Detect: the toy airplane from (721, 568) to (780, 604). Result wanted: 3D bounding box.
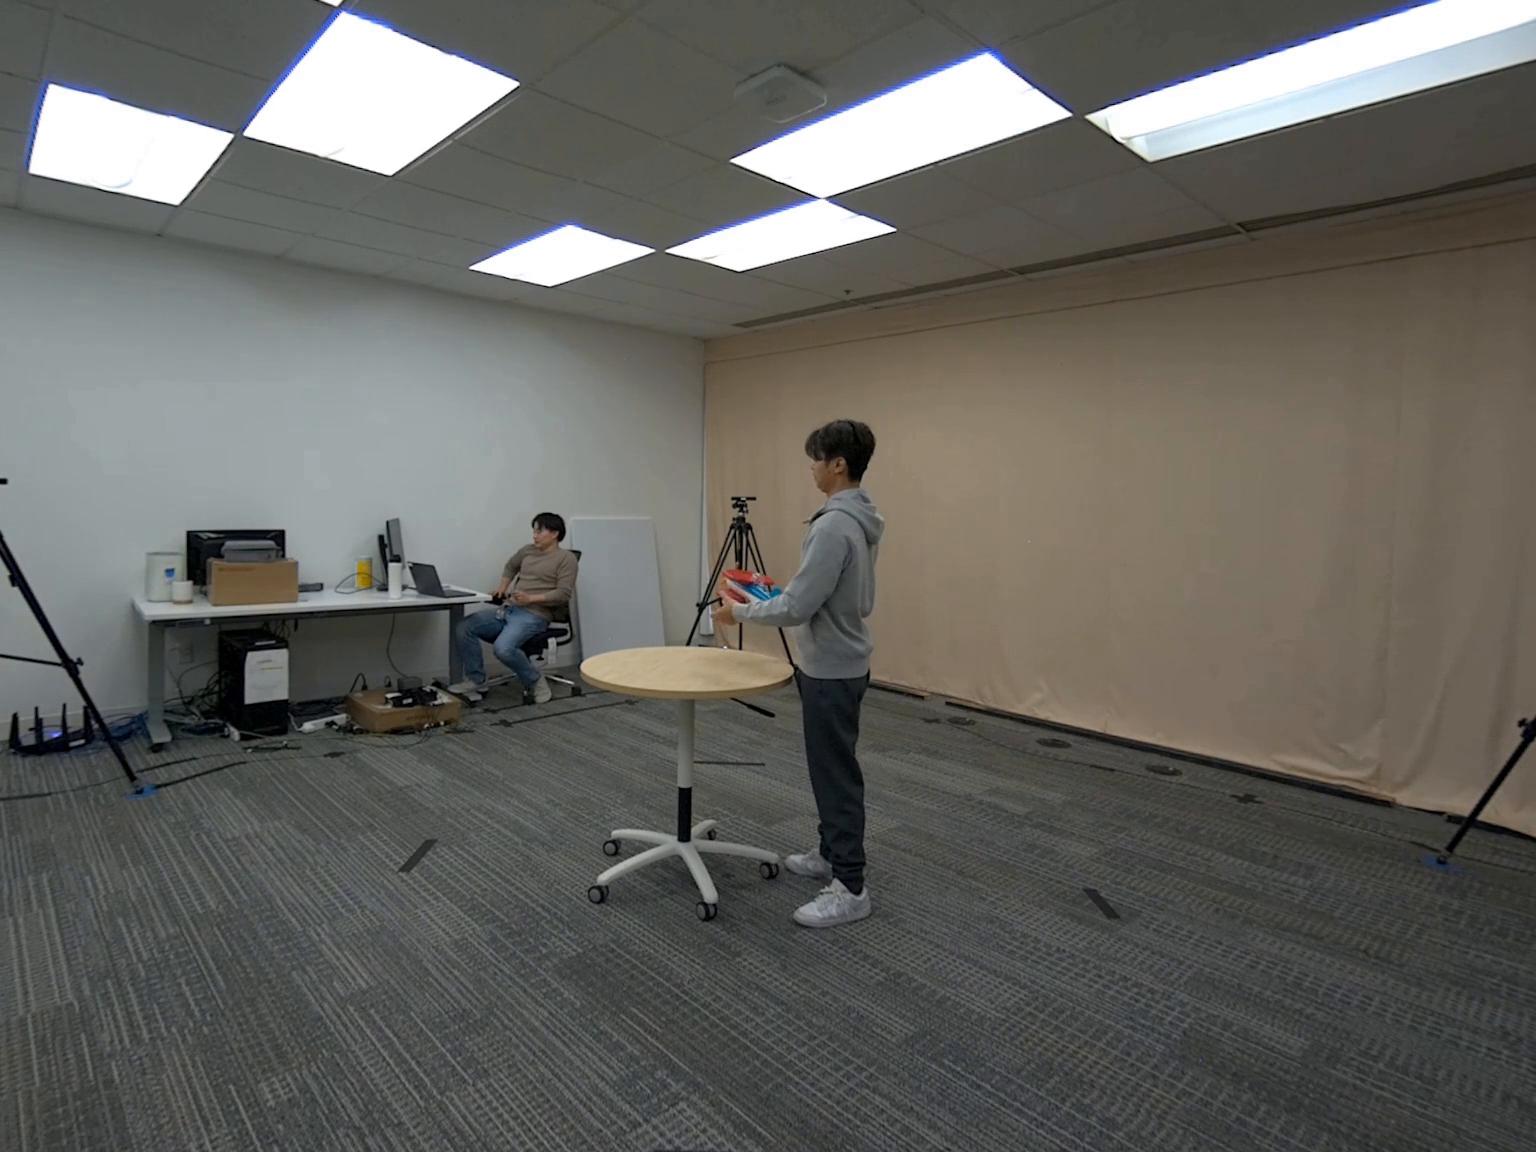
[{"bbox_3d":[-0.048,0.051,3.176,0.262,0.156,0.248,11,3,13],"label":"toy airplane"}]
